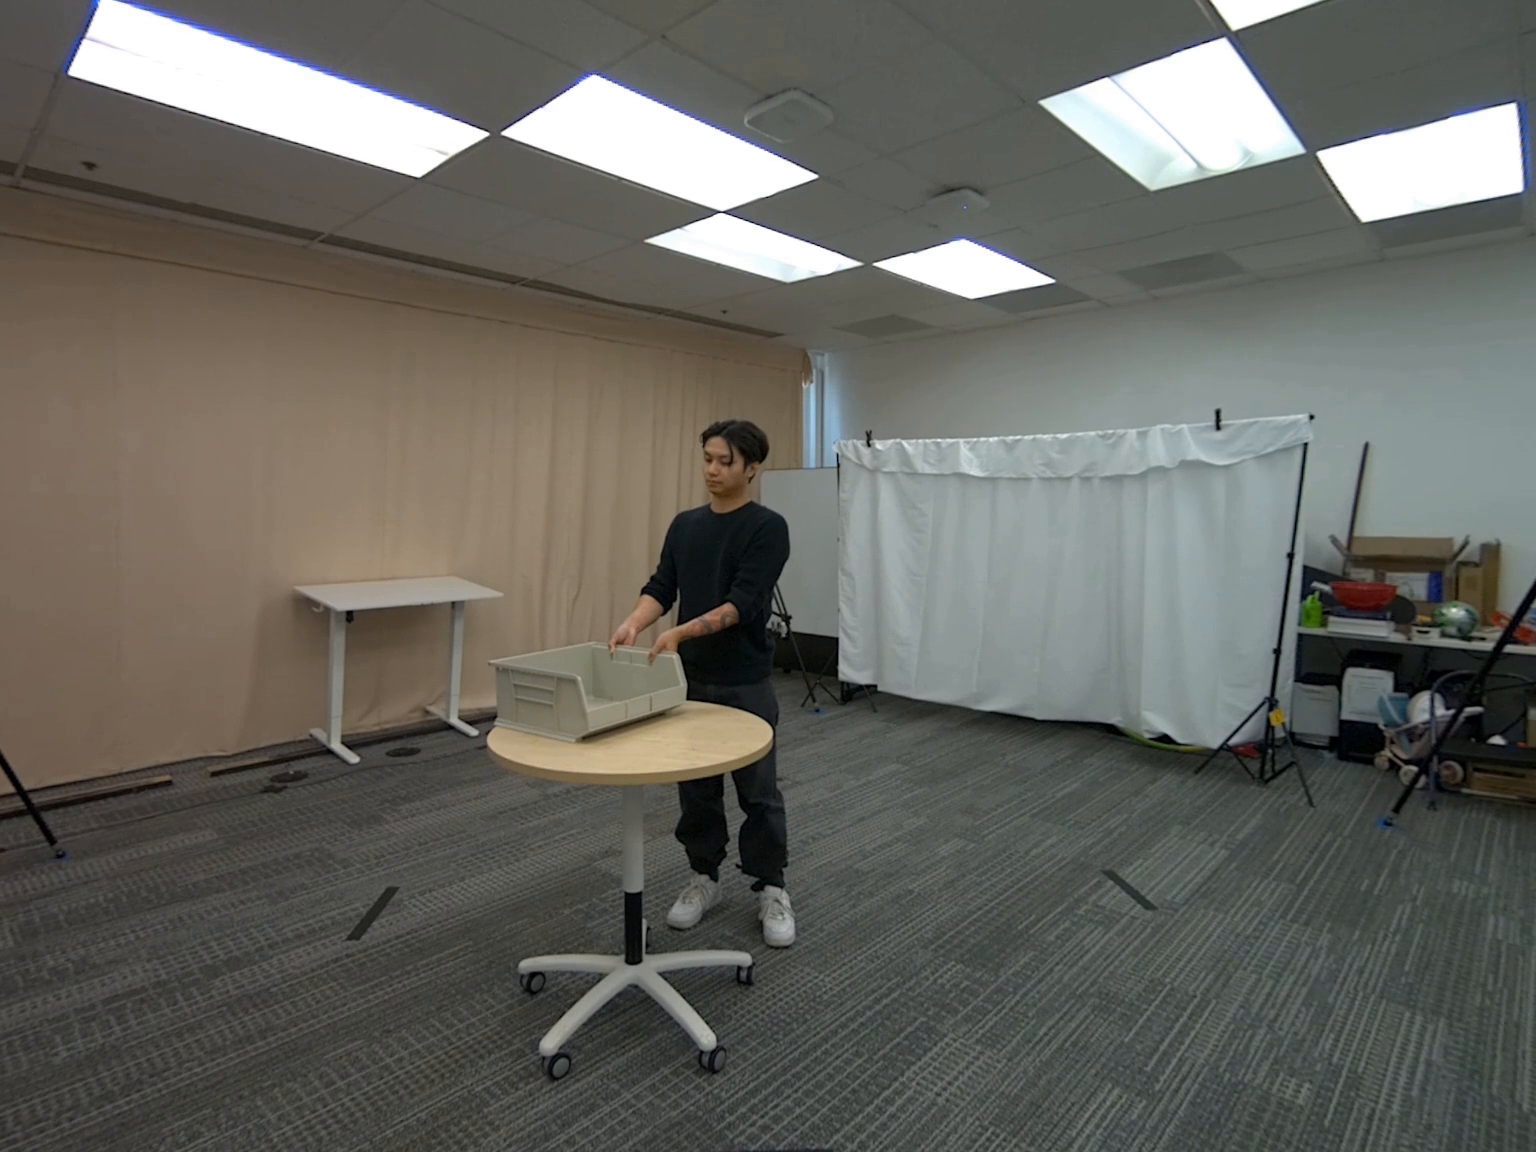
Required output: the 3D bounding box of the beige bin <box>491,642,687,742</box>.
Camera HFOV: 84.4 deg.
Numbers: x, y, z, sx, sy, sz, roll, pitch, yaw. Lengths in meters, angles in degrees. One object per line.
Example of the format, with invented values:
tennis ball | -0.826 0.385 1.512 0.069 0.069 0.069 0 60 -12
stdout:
beige bin | -0.509 0.323 2.401 0.389 0.188 0.410 1 4 35
